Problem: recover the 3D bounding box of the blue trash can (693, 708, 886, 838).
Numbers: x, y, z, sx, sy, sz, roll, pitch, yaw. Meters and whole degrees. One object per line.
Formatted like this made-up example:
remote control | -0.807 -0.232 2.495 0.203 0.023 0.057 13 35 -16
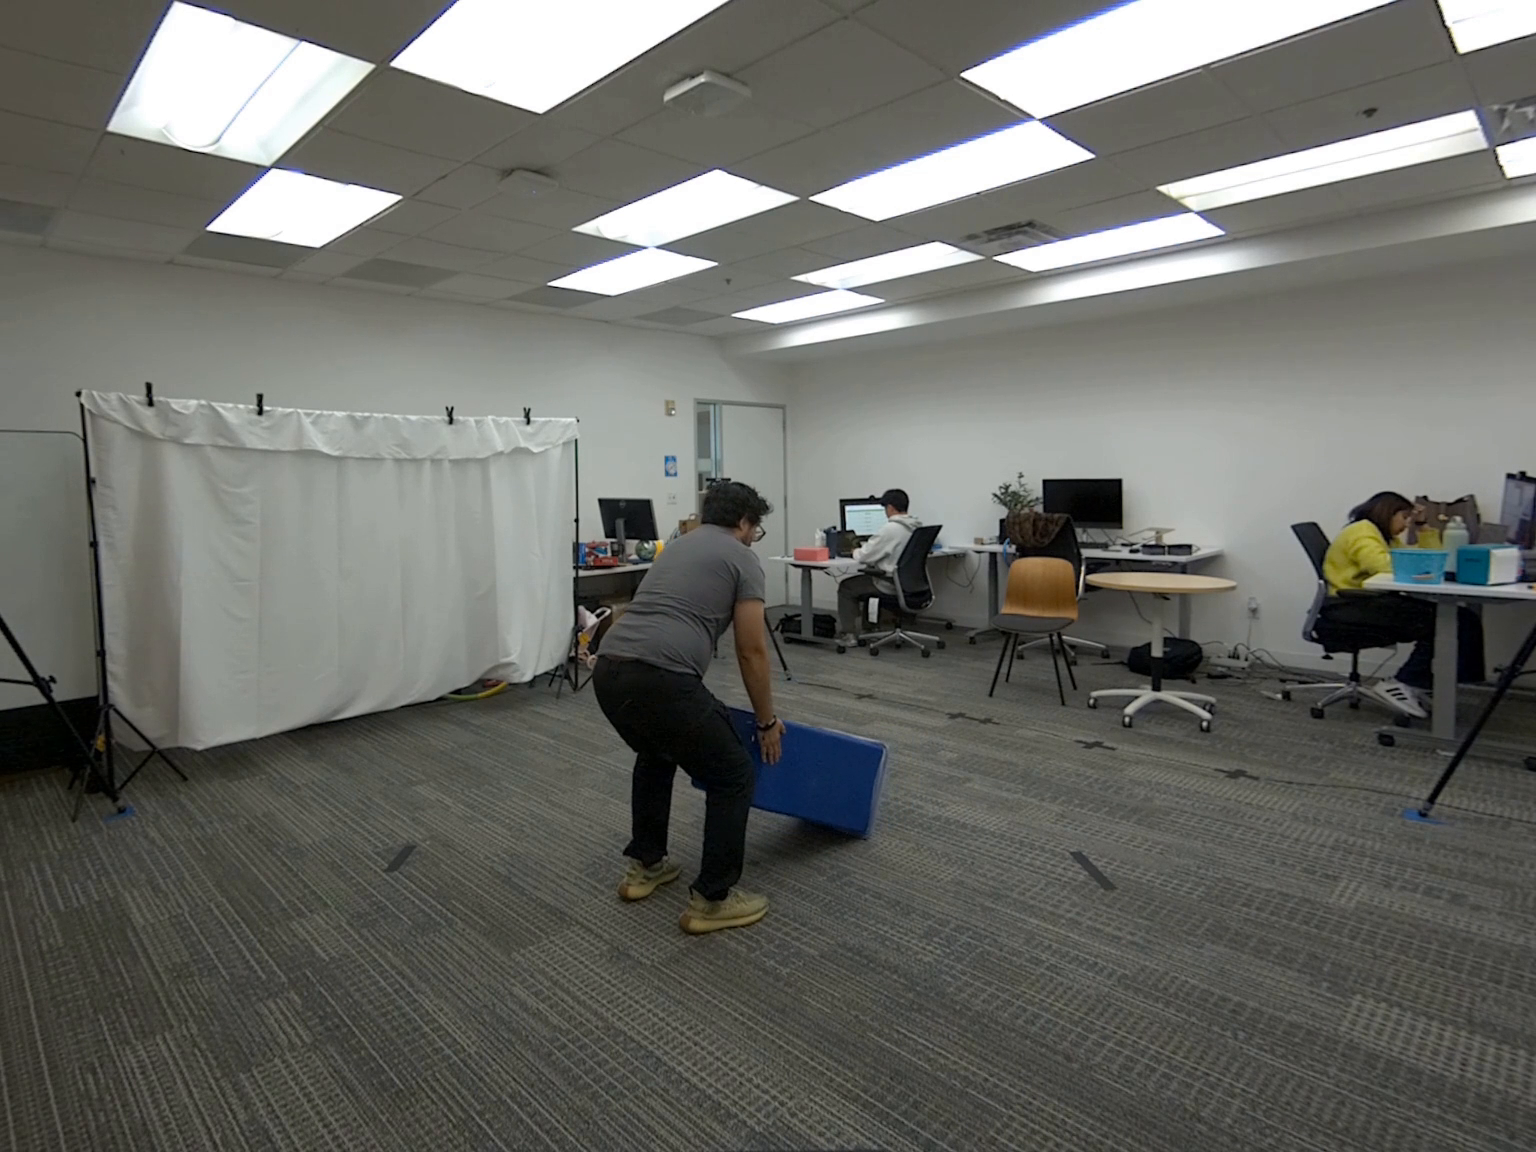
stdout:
blue trash can | 0.094 0.729 3.212 0.386 0.381 0.687 5 -15 43
